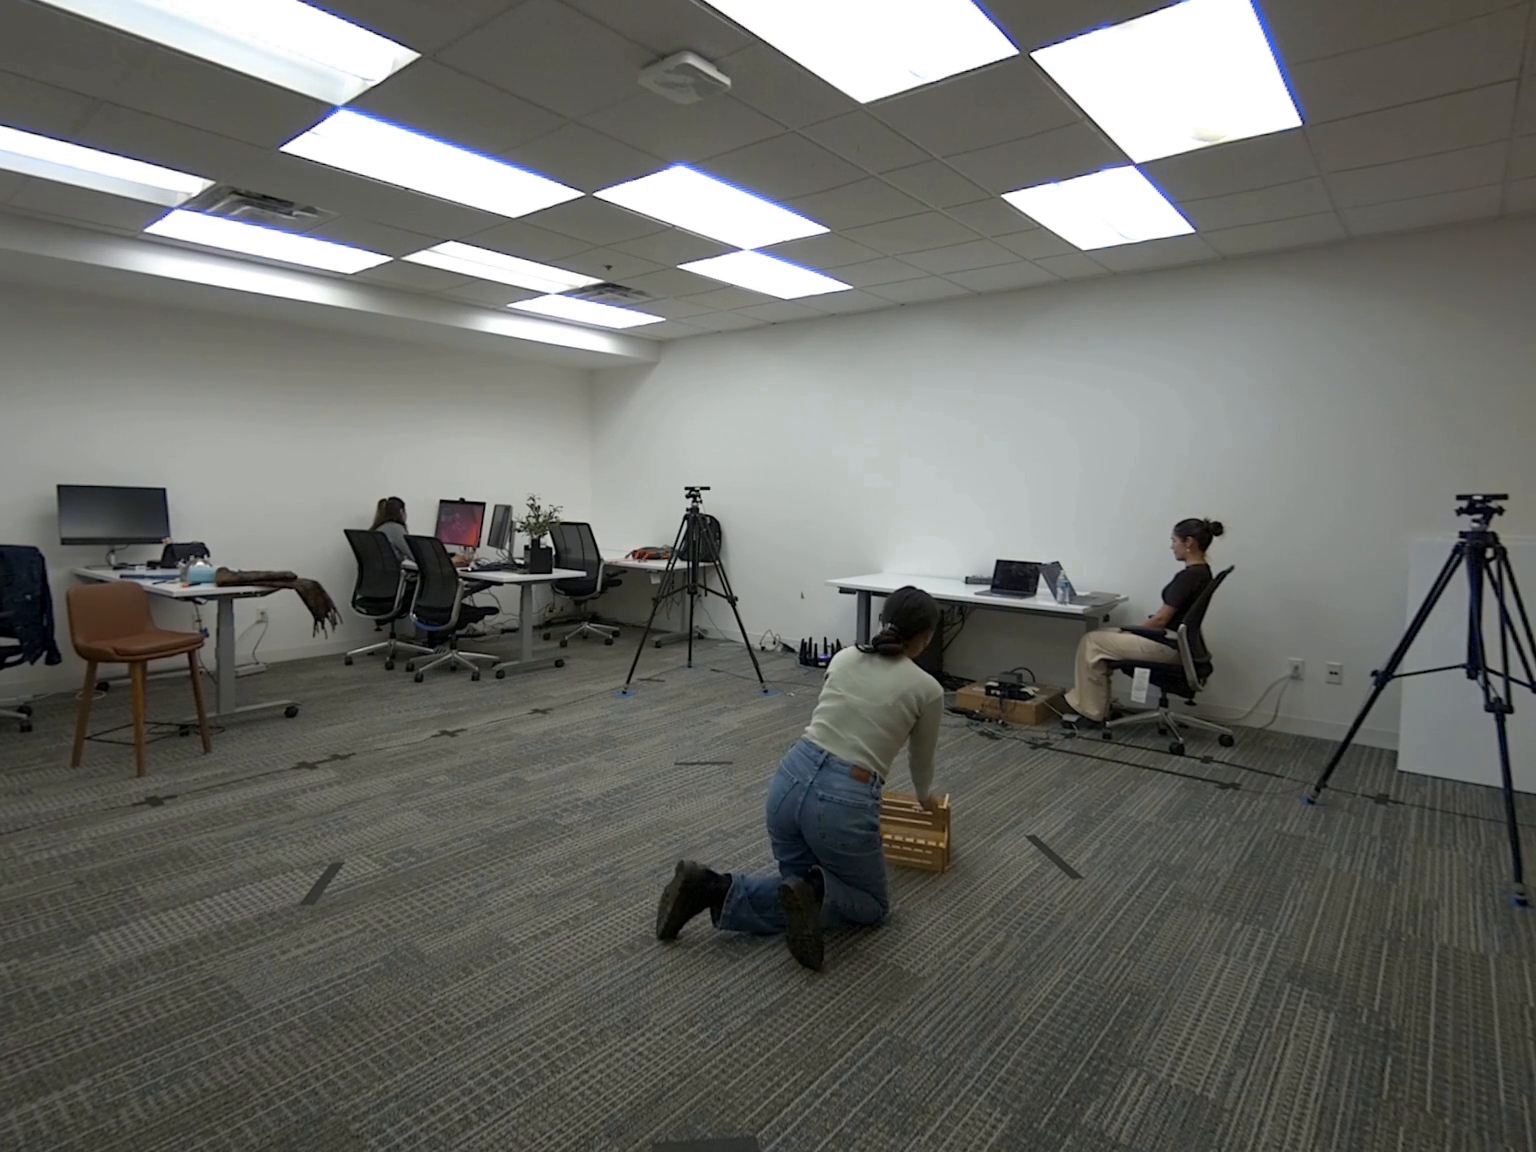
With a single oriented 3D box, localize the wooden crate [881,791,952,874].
[{"bbox_3d":[0.532,0.932,3.248,0.331,0.272,0.298,2,6,17],"label":"wooden crate"}]
